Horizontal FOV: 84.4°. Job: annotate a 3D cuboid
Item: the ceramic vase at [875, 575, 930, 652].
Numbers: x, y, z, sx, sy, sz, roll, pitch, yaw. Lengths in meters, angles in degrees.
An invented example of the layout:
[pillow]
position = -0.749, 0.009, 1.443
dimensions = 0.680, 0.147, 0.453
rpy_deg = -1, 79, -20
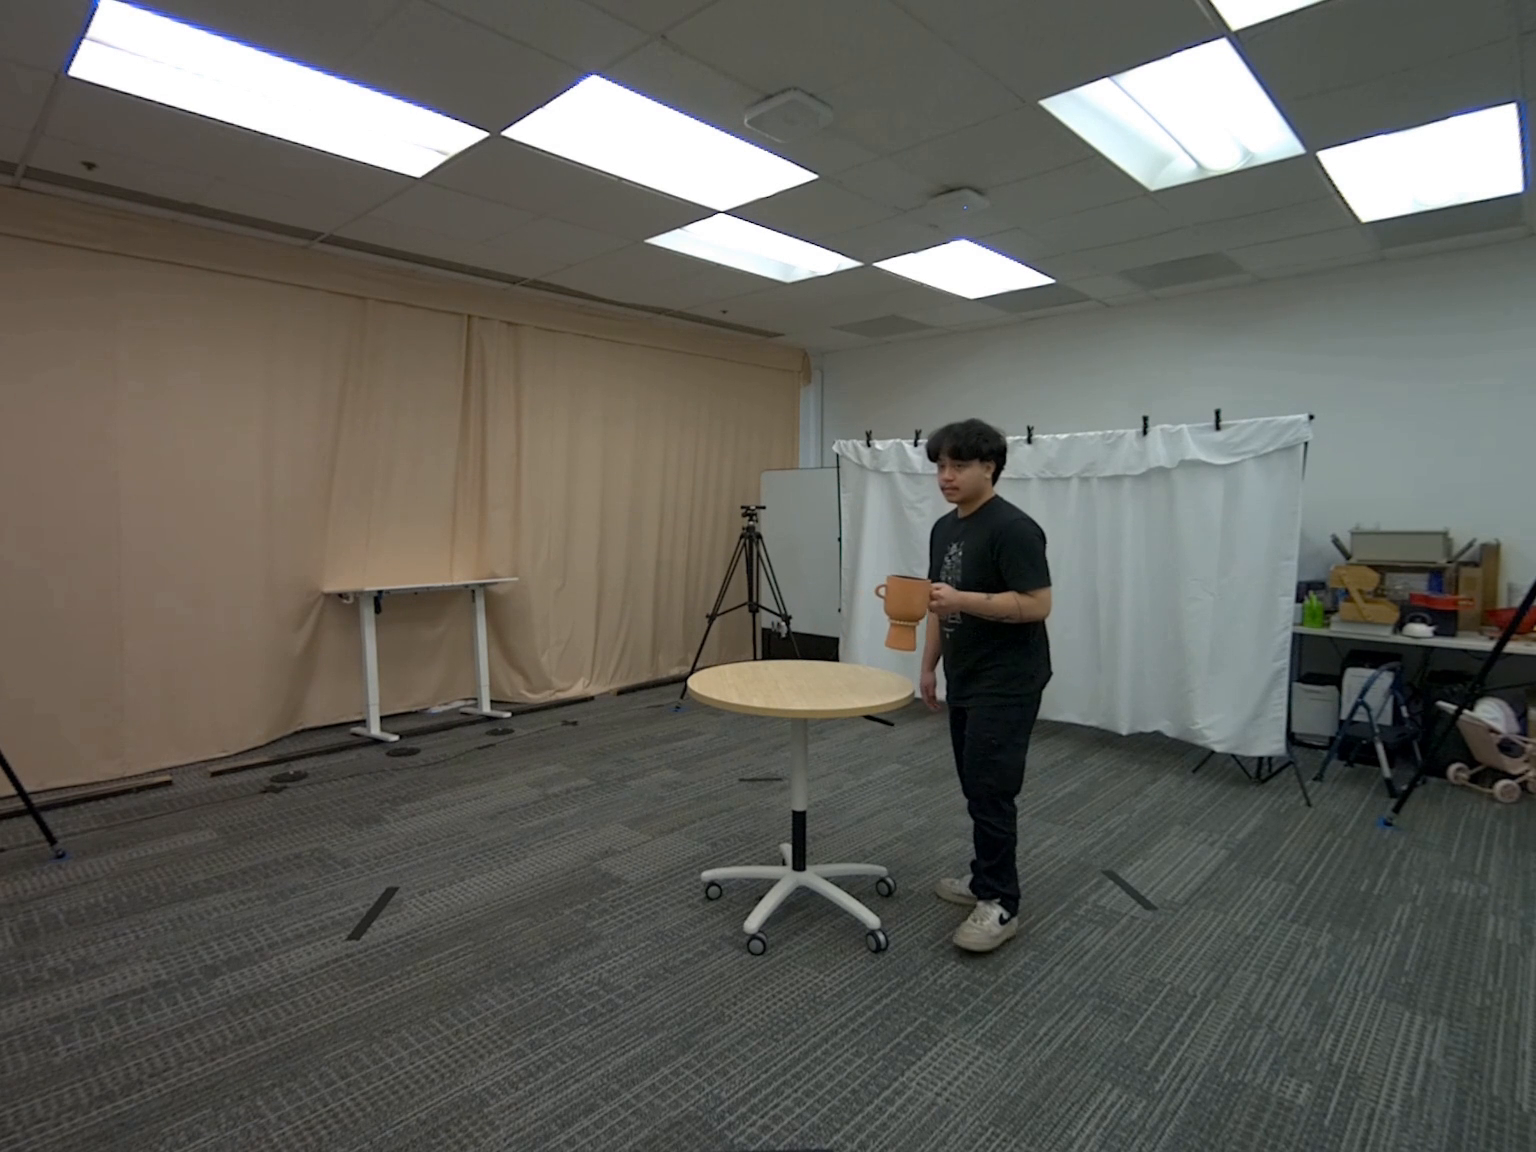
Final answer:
[ceramic vase]
position = 0.429, 0.117, 2.604
dimensions = 0.164, 0.219, 0.130
rpy_deg = 8, 4, 35
